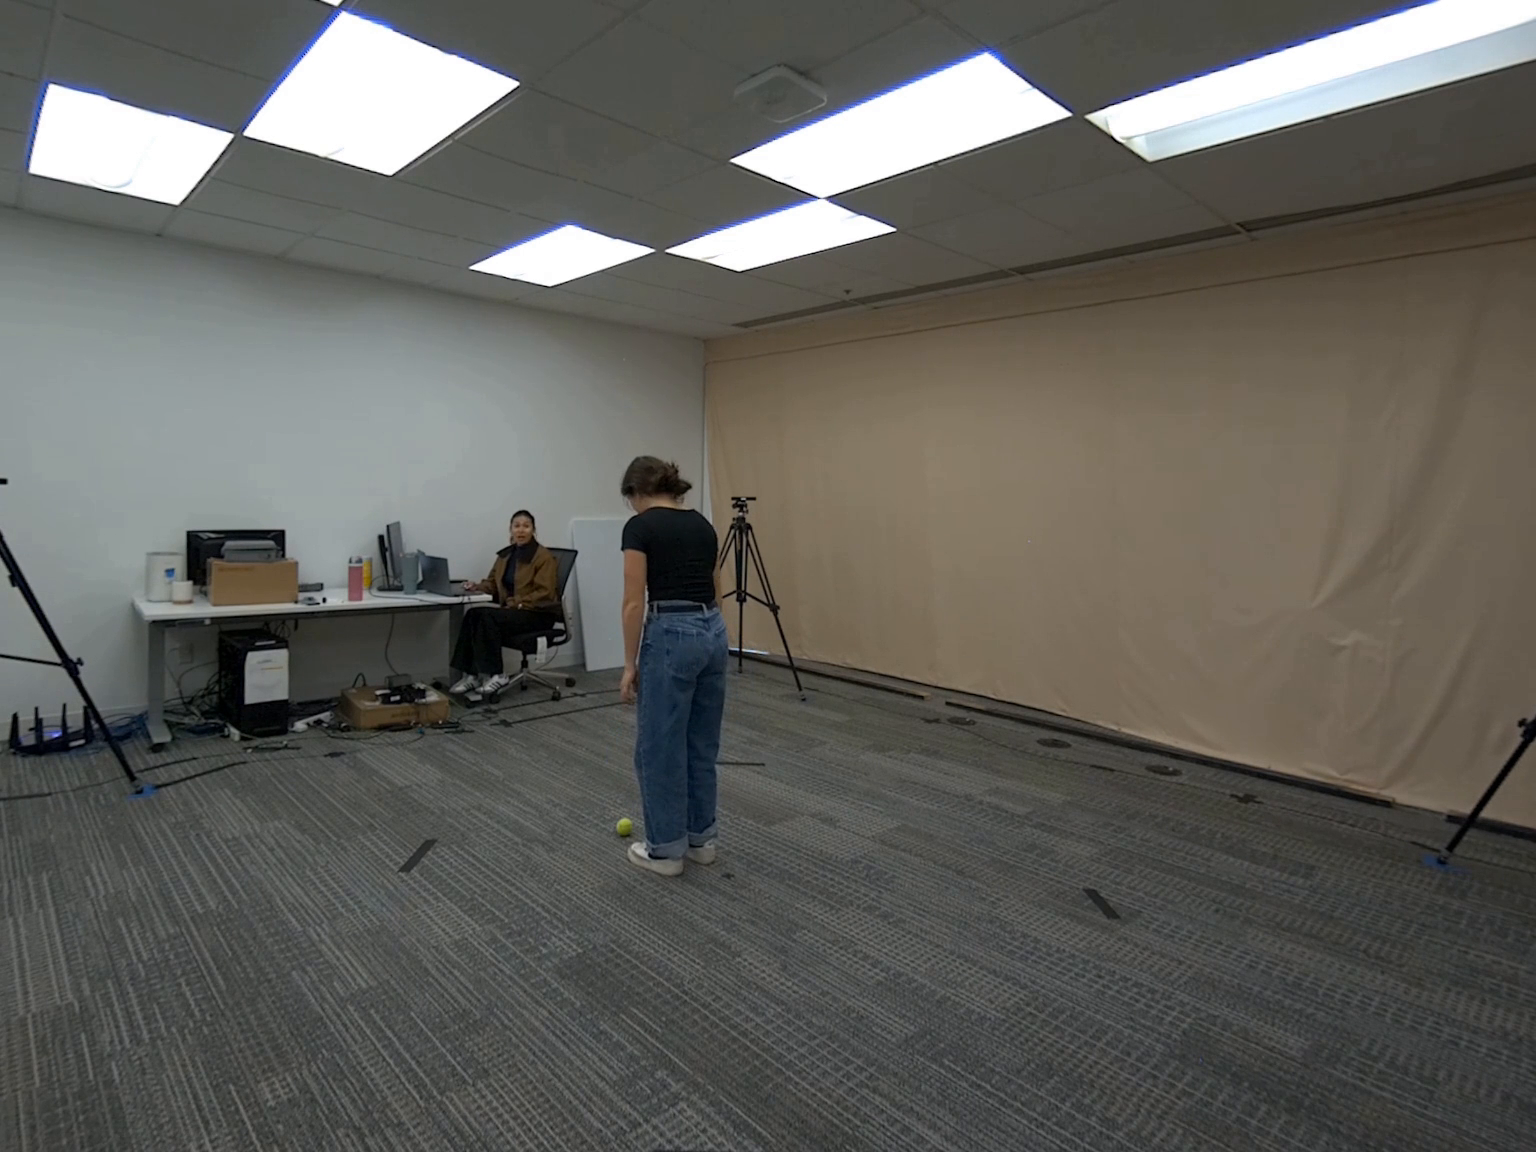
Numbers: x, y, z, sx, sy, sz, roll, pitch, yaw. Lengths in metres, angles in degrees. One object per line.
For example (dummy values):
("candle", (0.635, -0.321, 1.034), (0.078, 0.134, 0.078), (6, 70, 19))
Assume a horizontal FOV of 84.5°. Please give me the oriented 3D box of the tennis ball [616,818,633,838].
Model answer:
("tennis ball", (-0.605, 1.019, 3.458), (0.066, 0.066, 0.067), (1, 4, -1))
